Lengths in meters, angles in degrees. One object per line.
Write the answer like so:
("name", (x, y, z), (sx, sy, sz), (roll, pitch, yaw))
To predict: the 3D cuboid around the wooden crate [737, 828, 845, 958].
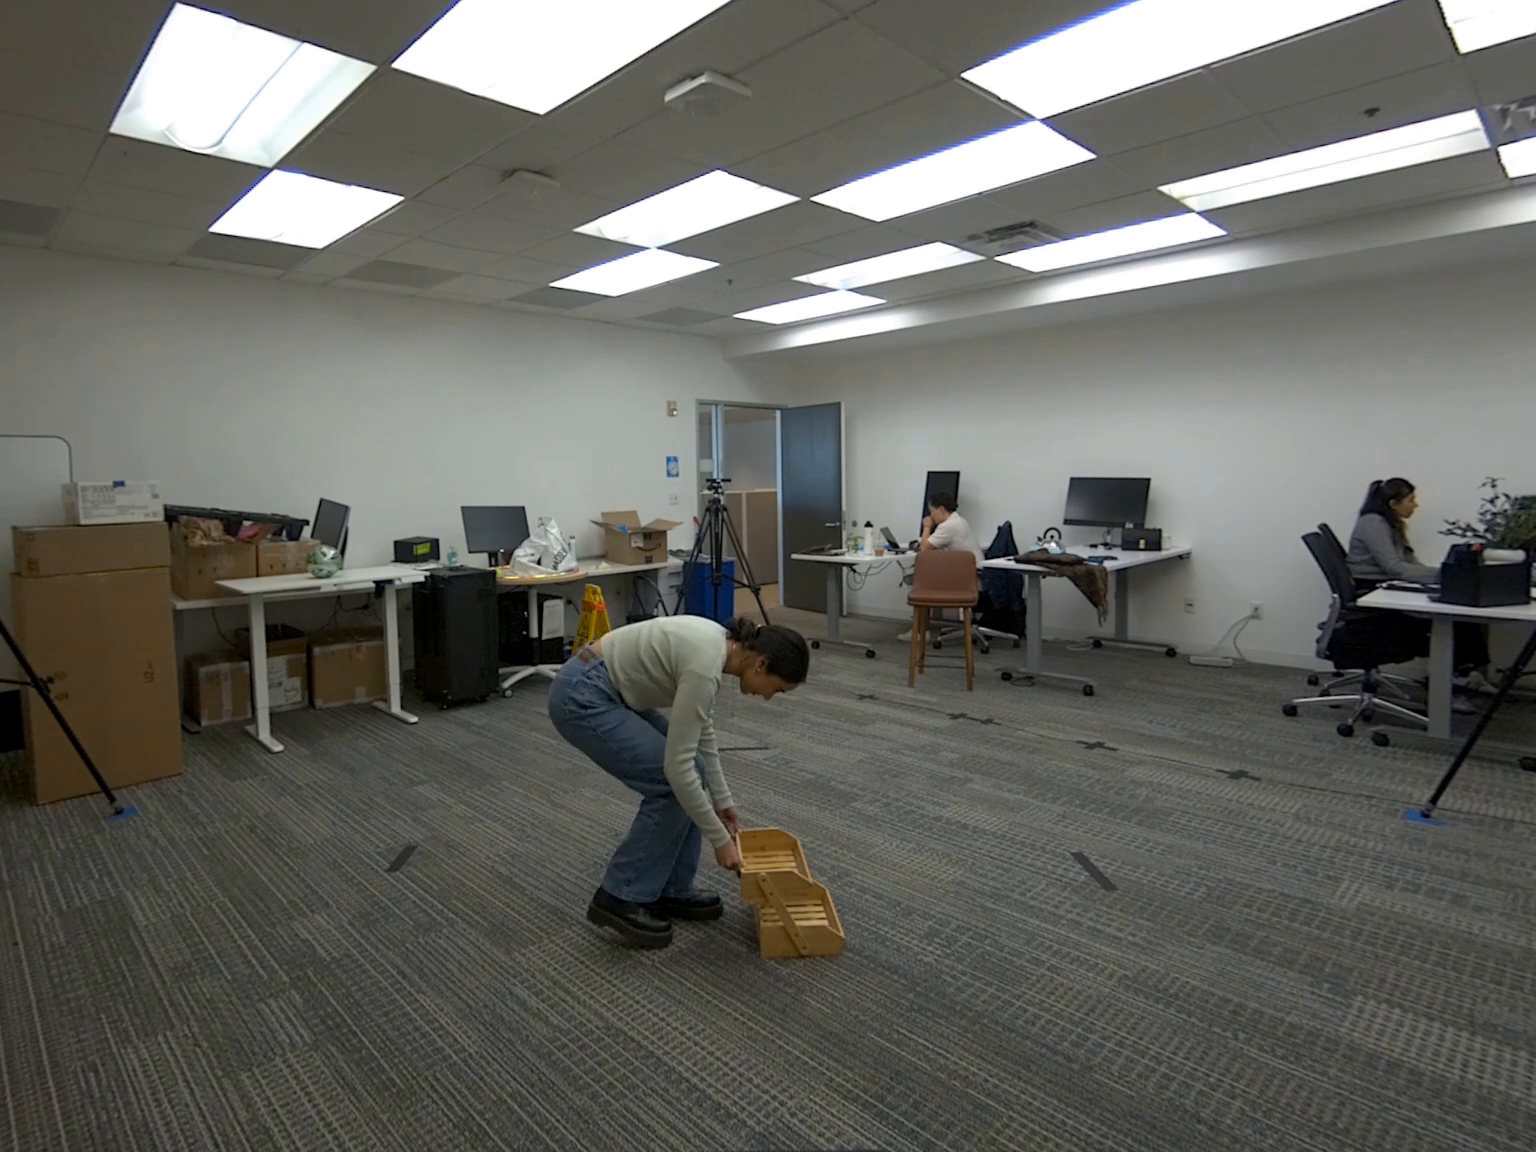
("wooden crate", (0.064, 0.961, 2.636), (0.301, 0.272, 0.327), (-2, 6, -4))
